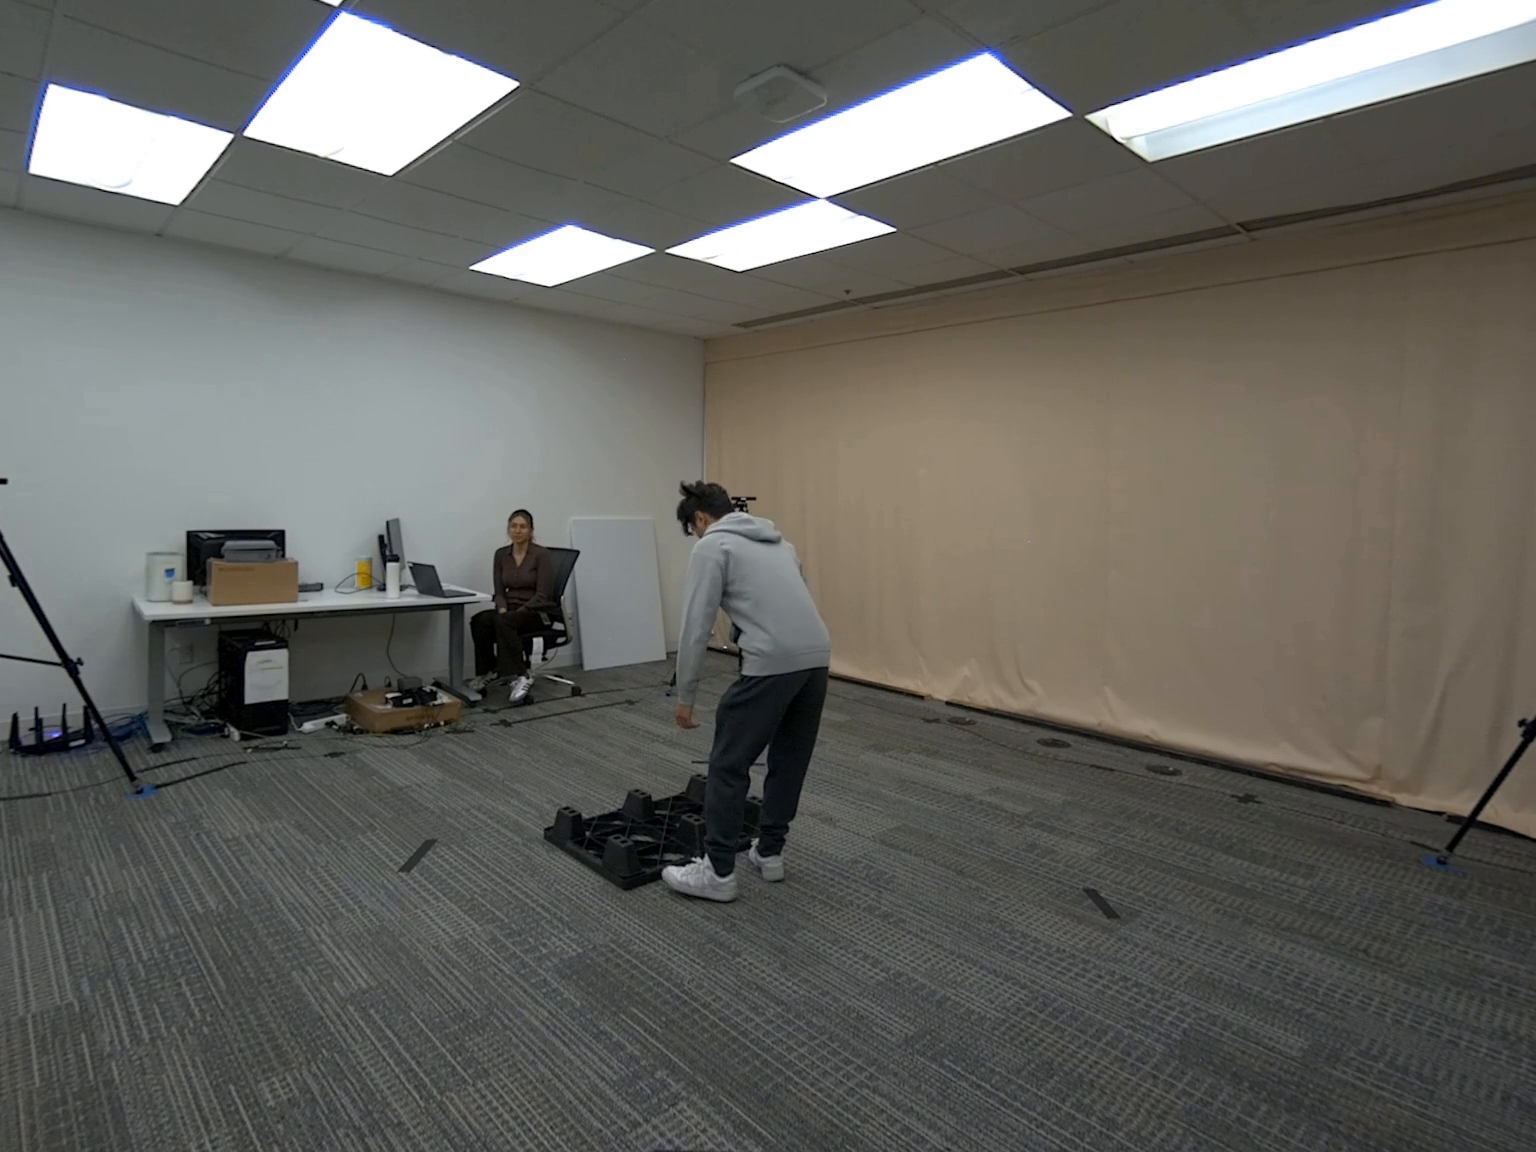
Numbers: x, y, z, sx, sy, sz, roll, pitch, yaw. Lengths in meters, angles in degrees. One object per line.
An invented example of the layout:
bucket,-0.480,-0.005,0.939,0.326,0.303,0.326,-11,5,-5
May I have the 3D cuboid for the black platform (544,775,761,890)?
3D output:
black platform,-0.427,1.006,3.438,0.787,0.143,0.620,-3,6,-42
